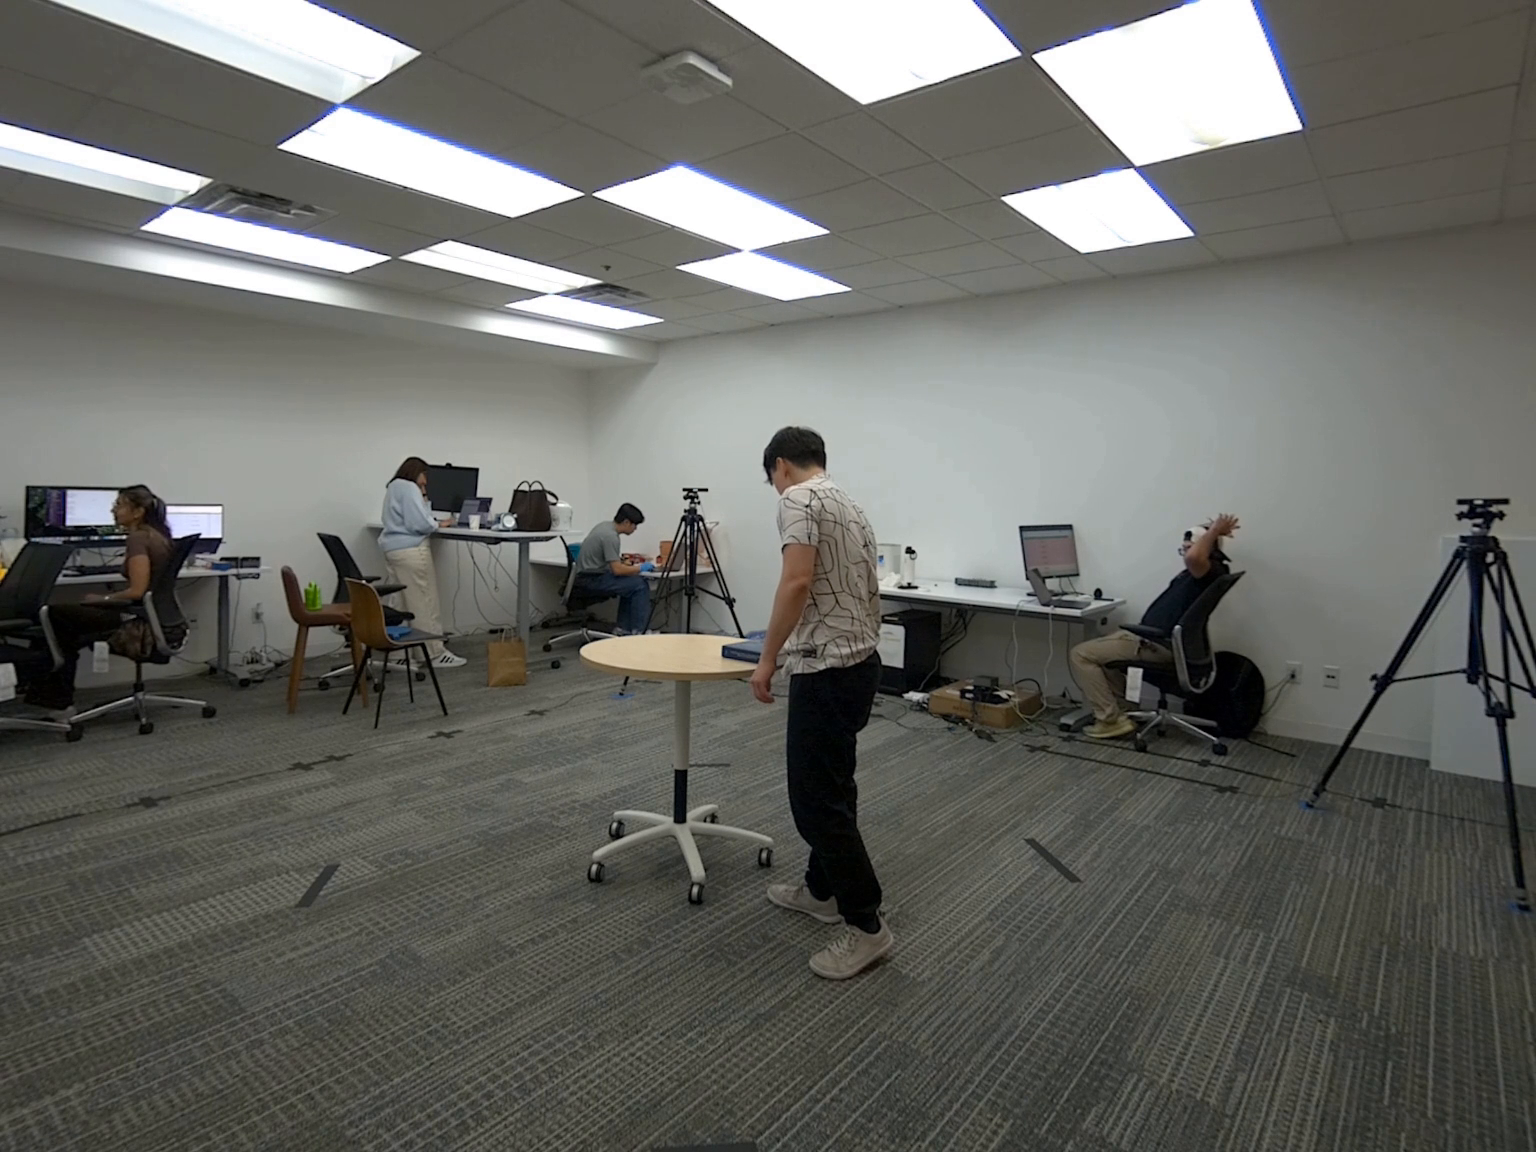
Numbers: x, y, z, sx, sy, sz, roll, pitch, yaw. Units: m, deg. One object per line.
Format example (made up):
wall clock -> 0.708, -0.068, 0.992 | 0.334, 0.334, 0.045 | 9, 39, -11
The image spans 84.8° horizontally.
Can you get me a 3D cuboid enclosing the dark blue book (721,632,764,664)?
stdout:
dark blue book -> -0.038, 0.272, 3.053 | 0.253, 0.045, 0.159 | 6, 8, 37
